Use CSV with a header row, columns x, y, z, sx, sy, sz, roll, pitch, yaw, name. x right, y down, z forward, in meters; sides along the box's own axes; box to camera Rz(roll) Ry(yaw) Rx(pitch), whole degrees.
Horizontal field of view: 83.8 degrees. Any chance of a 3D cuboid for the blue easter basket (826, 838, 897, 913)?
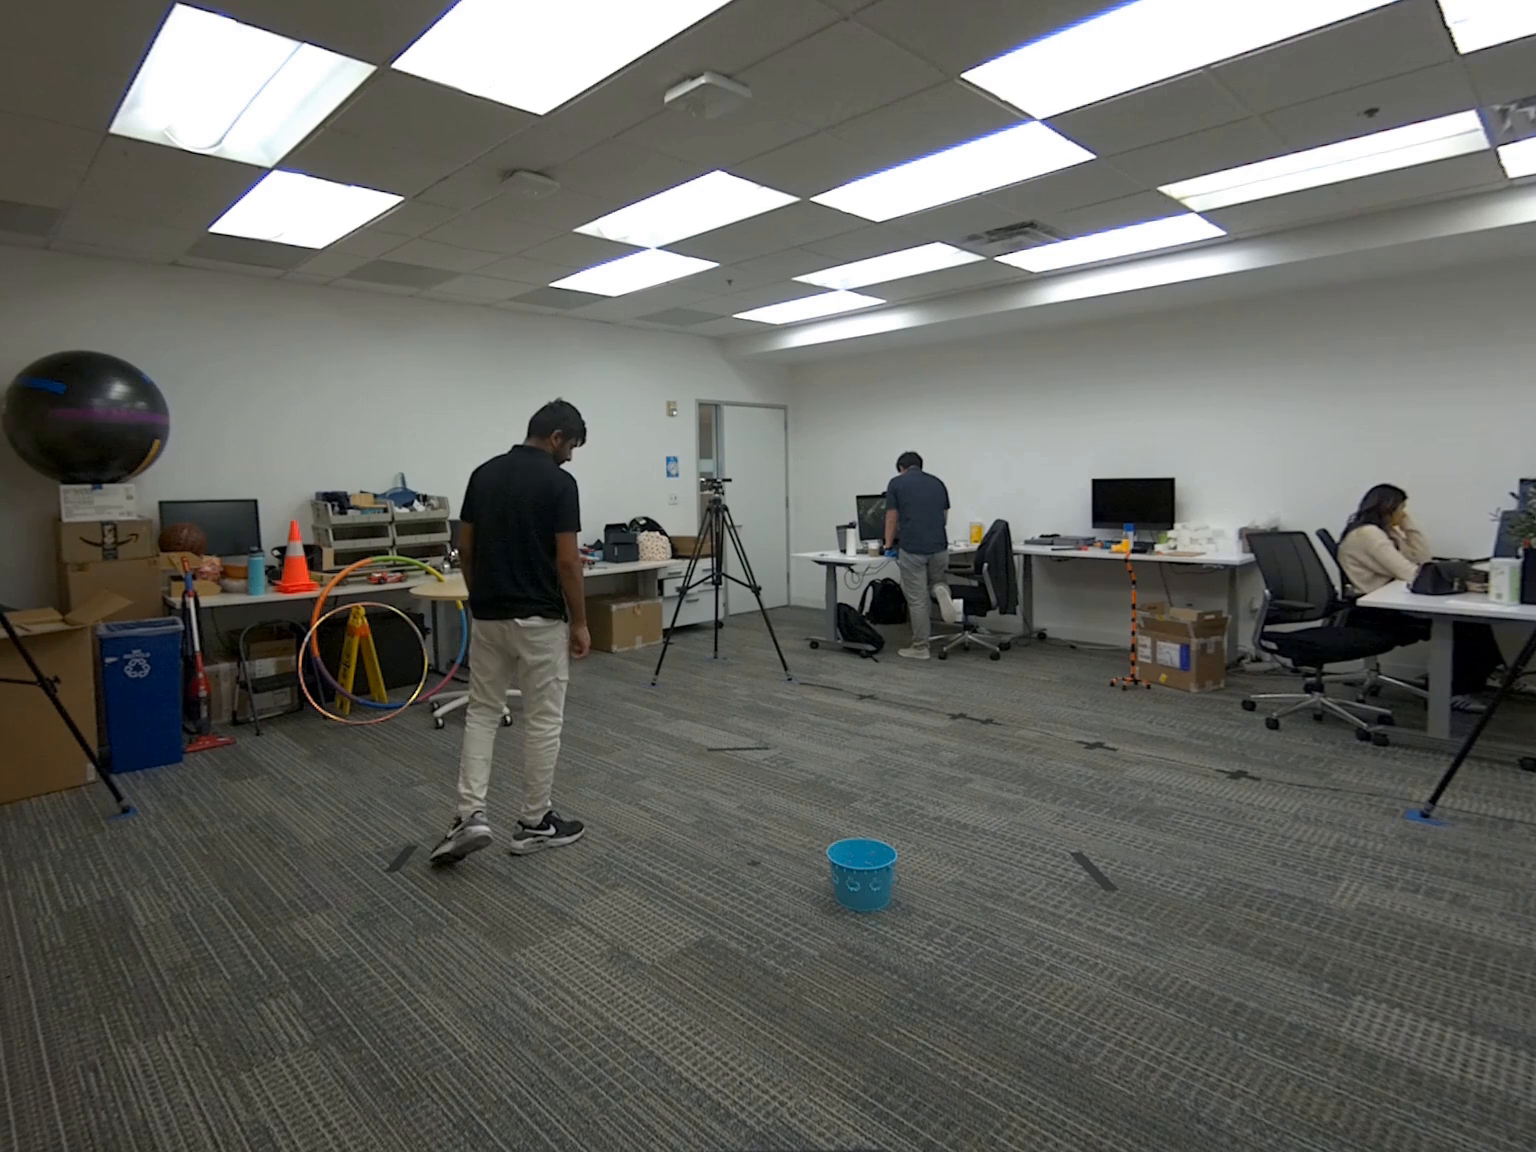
x,y,z,sx,sy,sz,roll,pitch,yaw,name
0.325,0.991,2.833,0.243,0.155,0.245,-1,6,-2,blue easter basket
